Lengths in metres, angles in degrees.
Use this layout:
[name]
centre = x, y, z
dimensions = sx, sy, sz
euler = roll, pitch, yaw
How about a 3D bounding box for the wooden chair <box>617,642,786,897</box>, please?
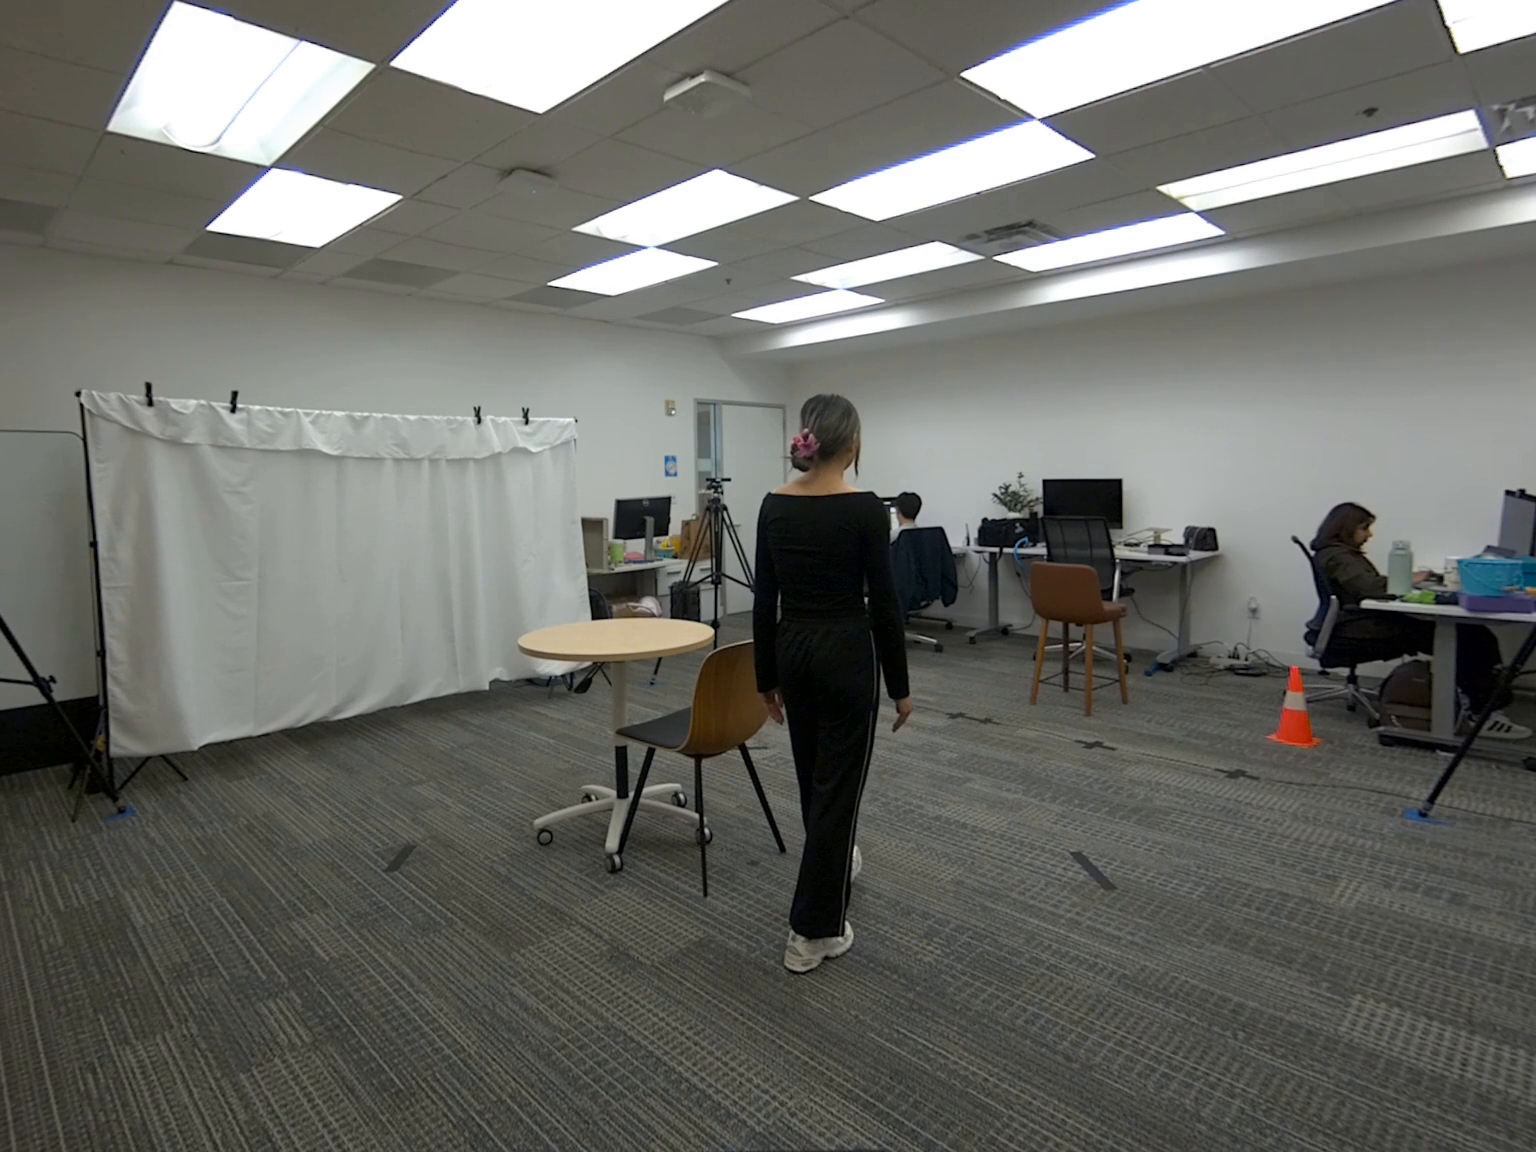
[wooden chair]
centre = -0.263, 0.614, 3.141
dimensions = 0.540, 0.872, 0.466
euler = 8, 10, 40
